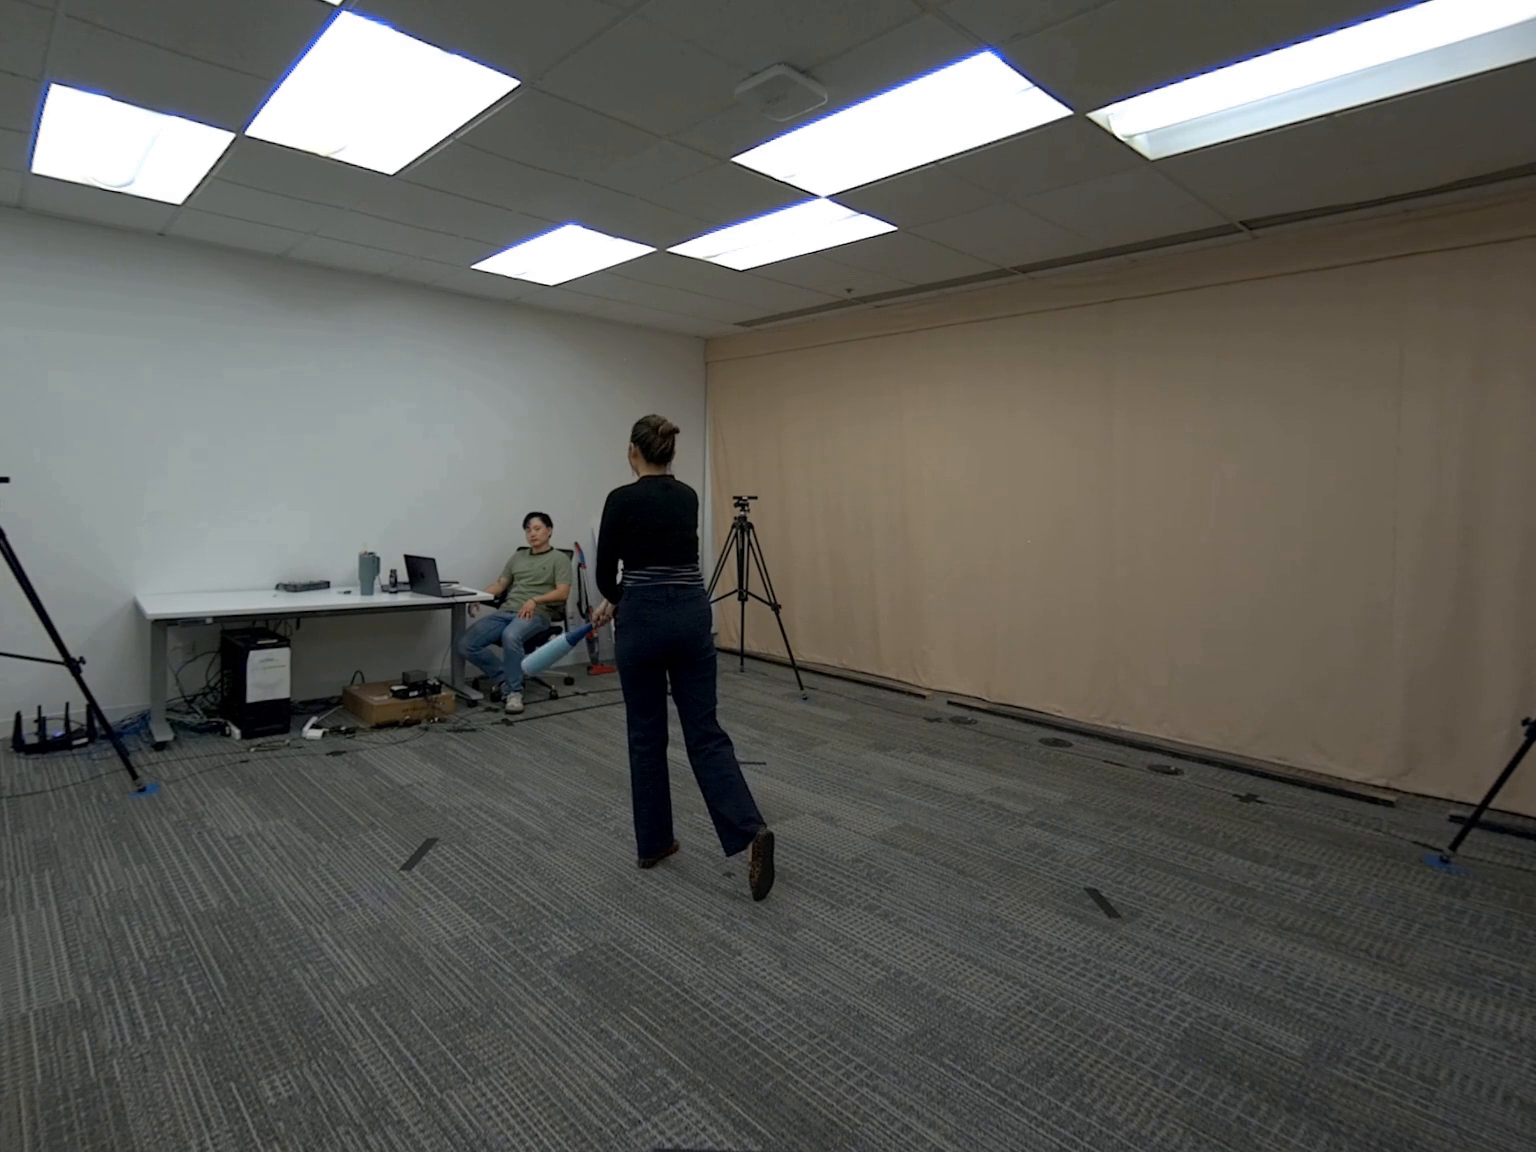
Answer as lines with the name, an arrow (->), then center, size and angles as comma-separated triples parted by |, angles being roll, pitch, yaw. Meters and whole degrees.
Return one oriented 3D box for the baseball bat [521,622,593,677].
baseball bat -> -0.809, 0.249, 3.489 | 0.545, 0.090, 0.088 | -33, -7, 18
